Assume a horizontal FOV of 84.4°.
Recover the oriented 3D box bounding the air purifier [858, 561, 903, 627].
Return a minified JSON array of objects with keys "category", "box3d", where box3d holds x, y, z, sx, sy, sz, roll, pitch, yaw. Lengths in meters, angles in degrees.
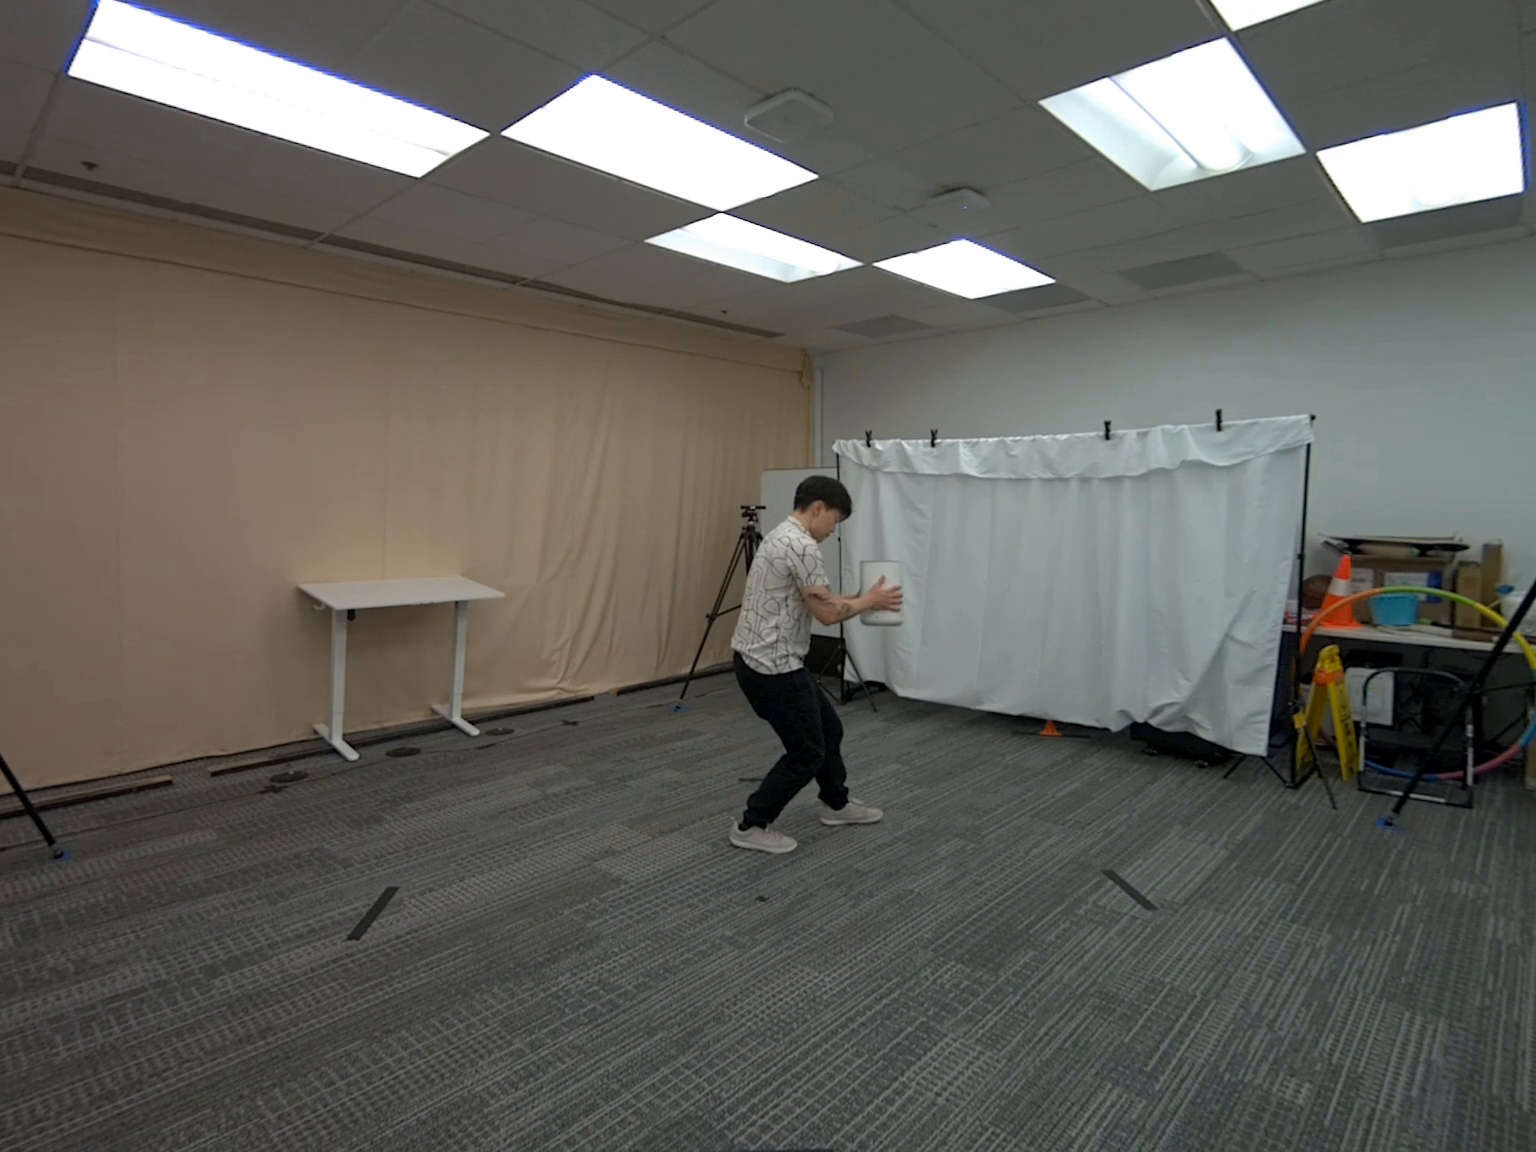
[{"category":"air purifier","box3d":[0.478,0.081,3.512,0.175,0.266,0.167,-2,-5,16]}]
